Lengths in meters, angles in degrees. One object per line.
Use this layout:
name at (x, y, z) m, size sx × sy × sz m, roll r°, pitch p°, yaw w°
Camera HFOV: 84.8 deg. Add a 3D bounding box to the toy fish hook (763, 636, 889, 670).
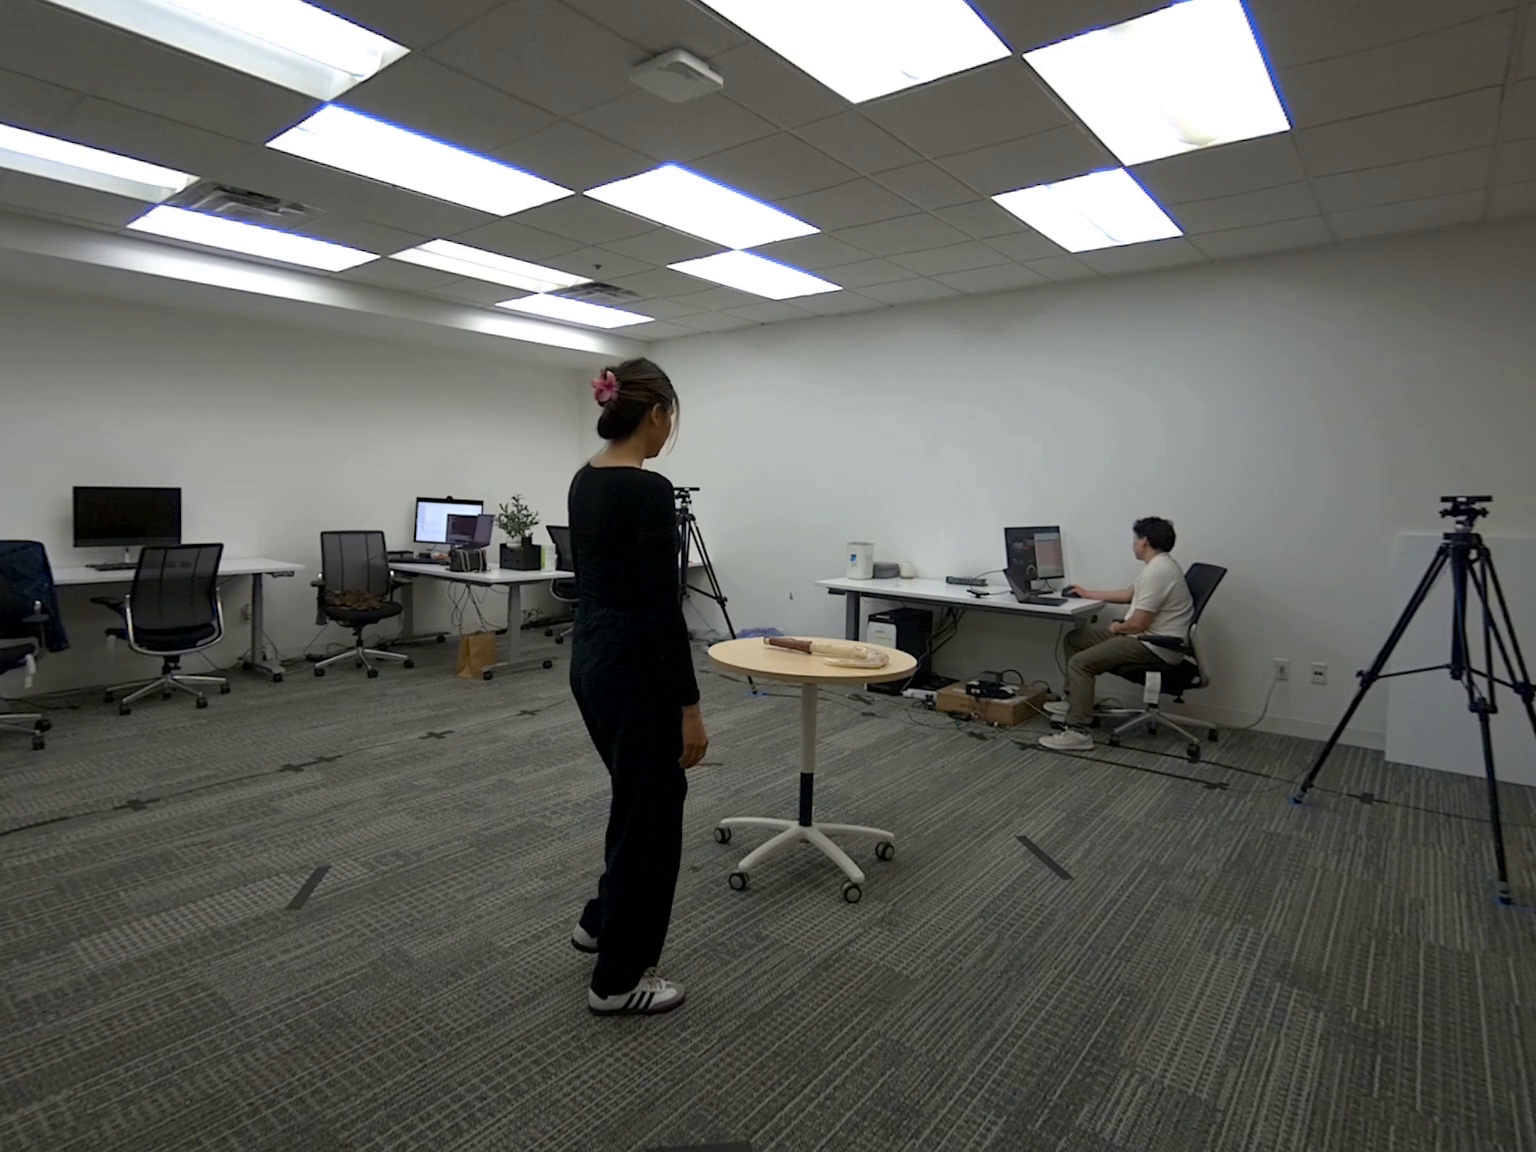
toy fish hook at (0.183, 0.271, 3.084) m, size 0.521 × 0.048 × 0.219 m, roll 5°, pitch 6°, yaw 28°
